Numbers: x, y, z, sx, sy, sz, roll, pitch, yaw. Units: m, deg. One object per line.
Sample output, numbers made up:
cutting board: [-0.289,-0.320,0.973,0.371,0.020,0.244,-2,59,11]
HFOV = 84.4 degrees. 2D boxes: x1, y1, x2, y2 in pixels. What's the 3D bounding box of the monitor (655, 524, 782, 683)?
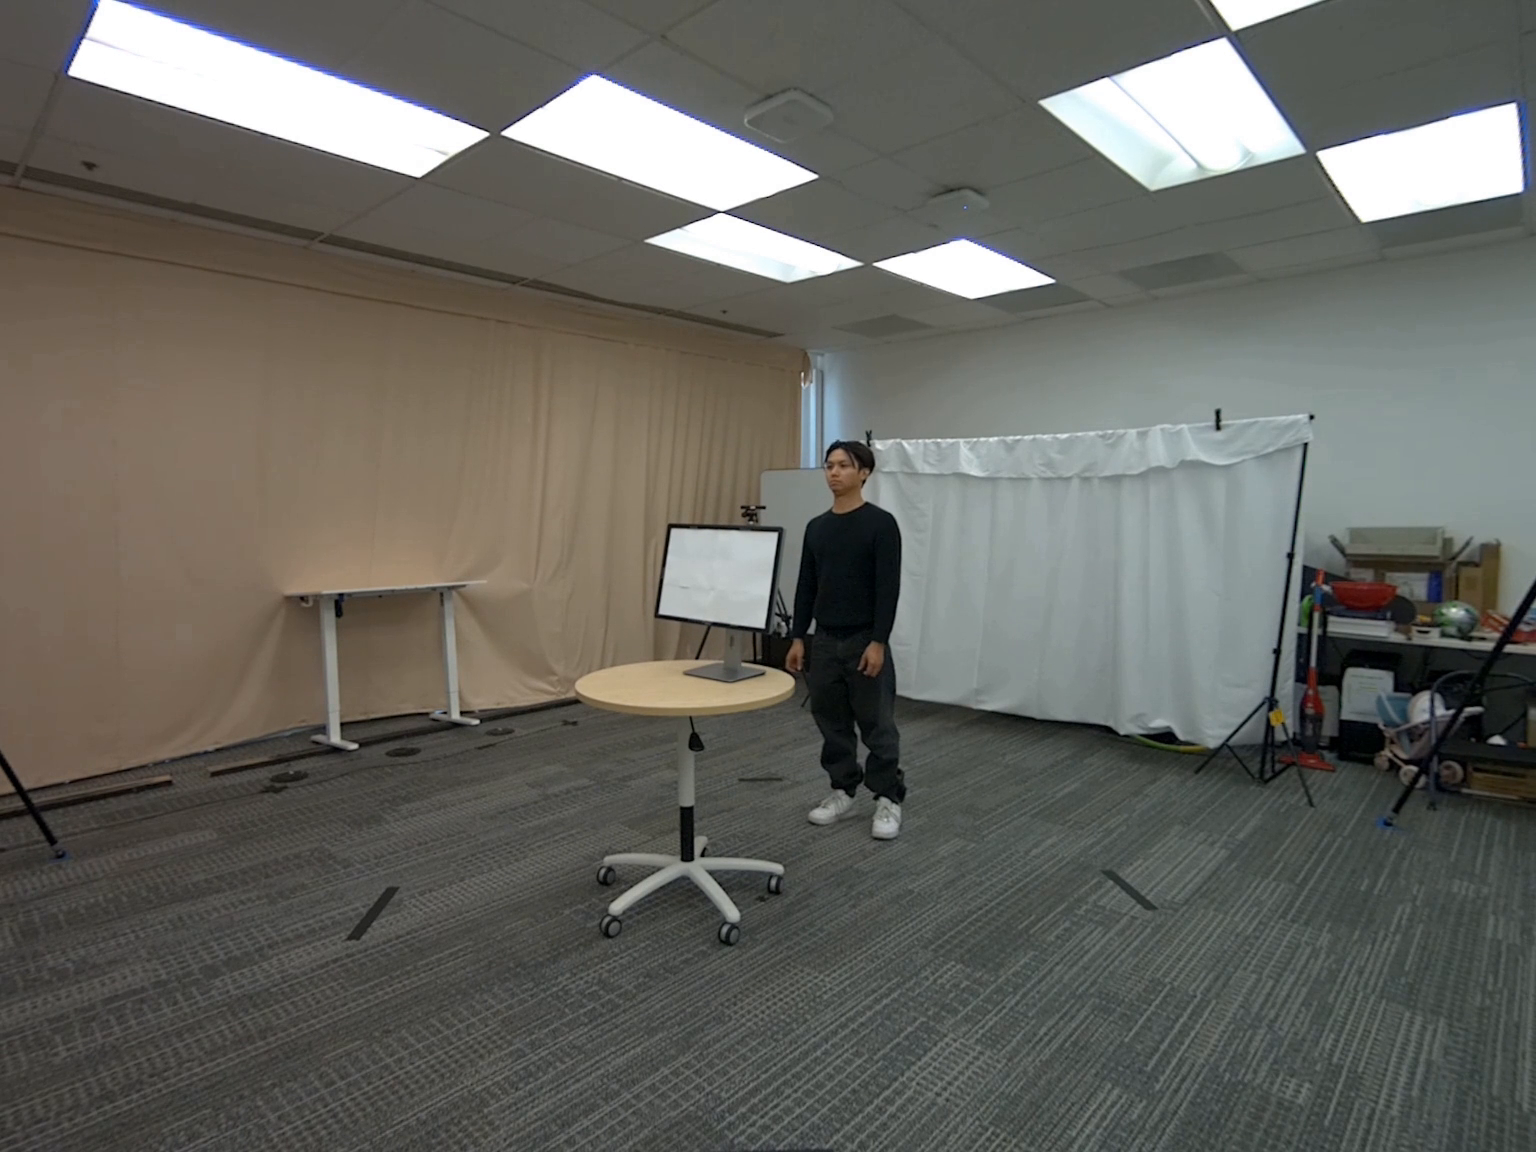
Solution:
monitor: [-0.154,0.091,3.040,0.557,0.521,0.181,3,6,39]
